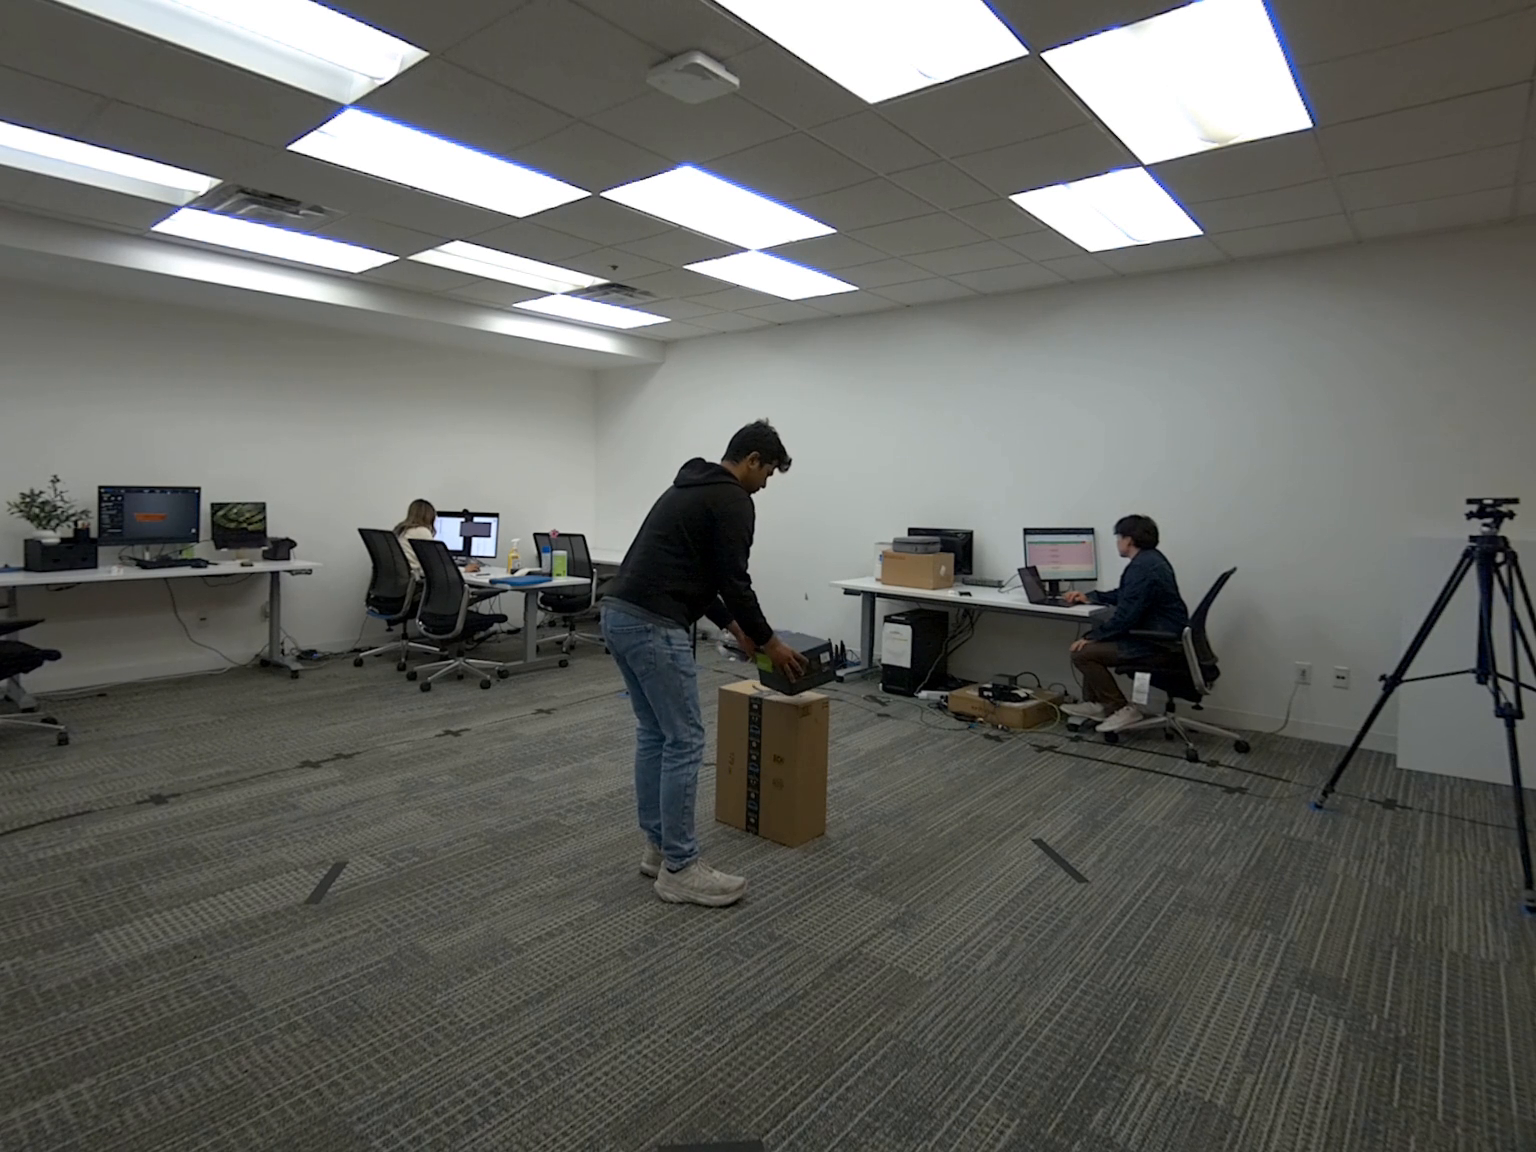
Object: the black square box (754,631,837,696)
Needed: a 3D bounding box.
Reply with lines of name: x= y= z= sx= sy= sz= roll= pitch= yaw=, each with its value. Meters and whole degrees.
black square box: x=0.094 y=0.344 z=3.285 sx=0.213 sy=0.154 sz=0.235 roll=-16 pitch=13 yaw=-29
